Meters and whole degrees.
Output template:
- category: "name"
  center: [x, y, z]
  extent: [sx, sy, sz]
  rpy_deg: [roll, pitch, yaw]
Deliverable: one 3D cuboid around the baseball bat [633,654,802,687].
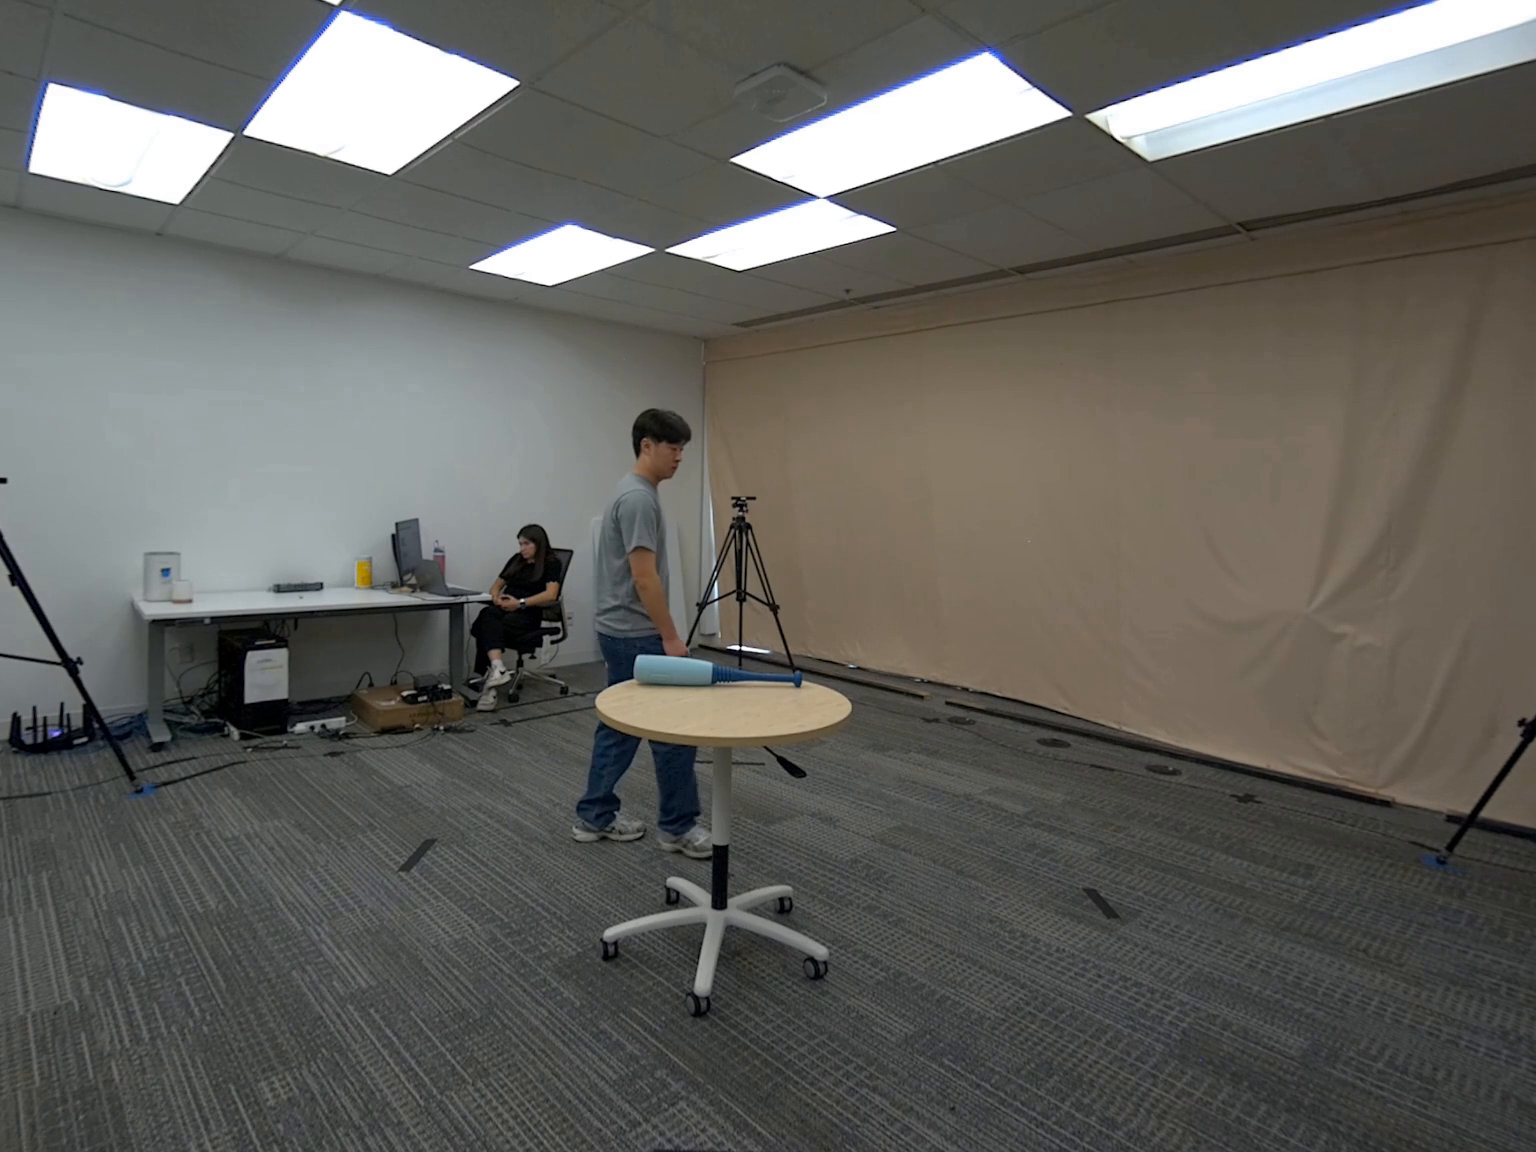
- category: "baseball bat"
  center: [-0.163, 0.320, 2.715]
  extent: [0.541, 0.089, 0.089]
  rpy_deg: [4, 4, -5]
